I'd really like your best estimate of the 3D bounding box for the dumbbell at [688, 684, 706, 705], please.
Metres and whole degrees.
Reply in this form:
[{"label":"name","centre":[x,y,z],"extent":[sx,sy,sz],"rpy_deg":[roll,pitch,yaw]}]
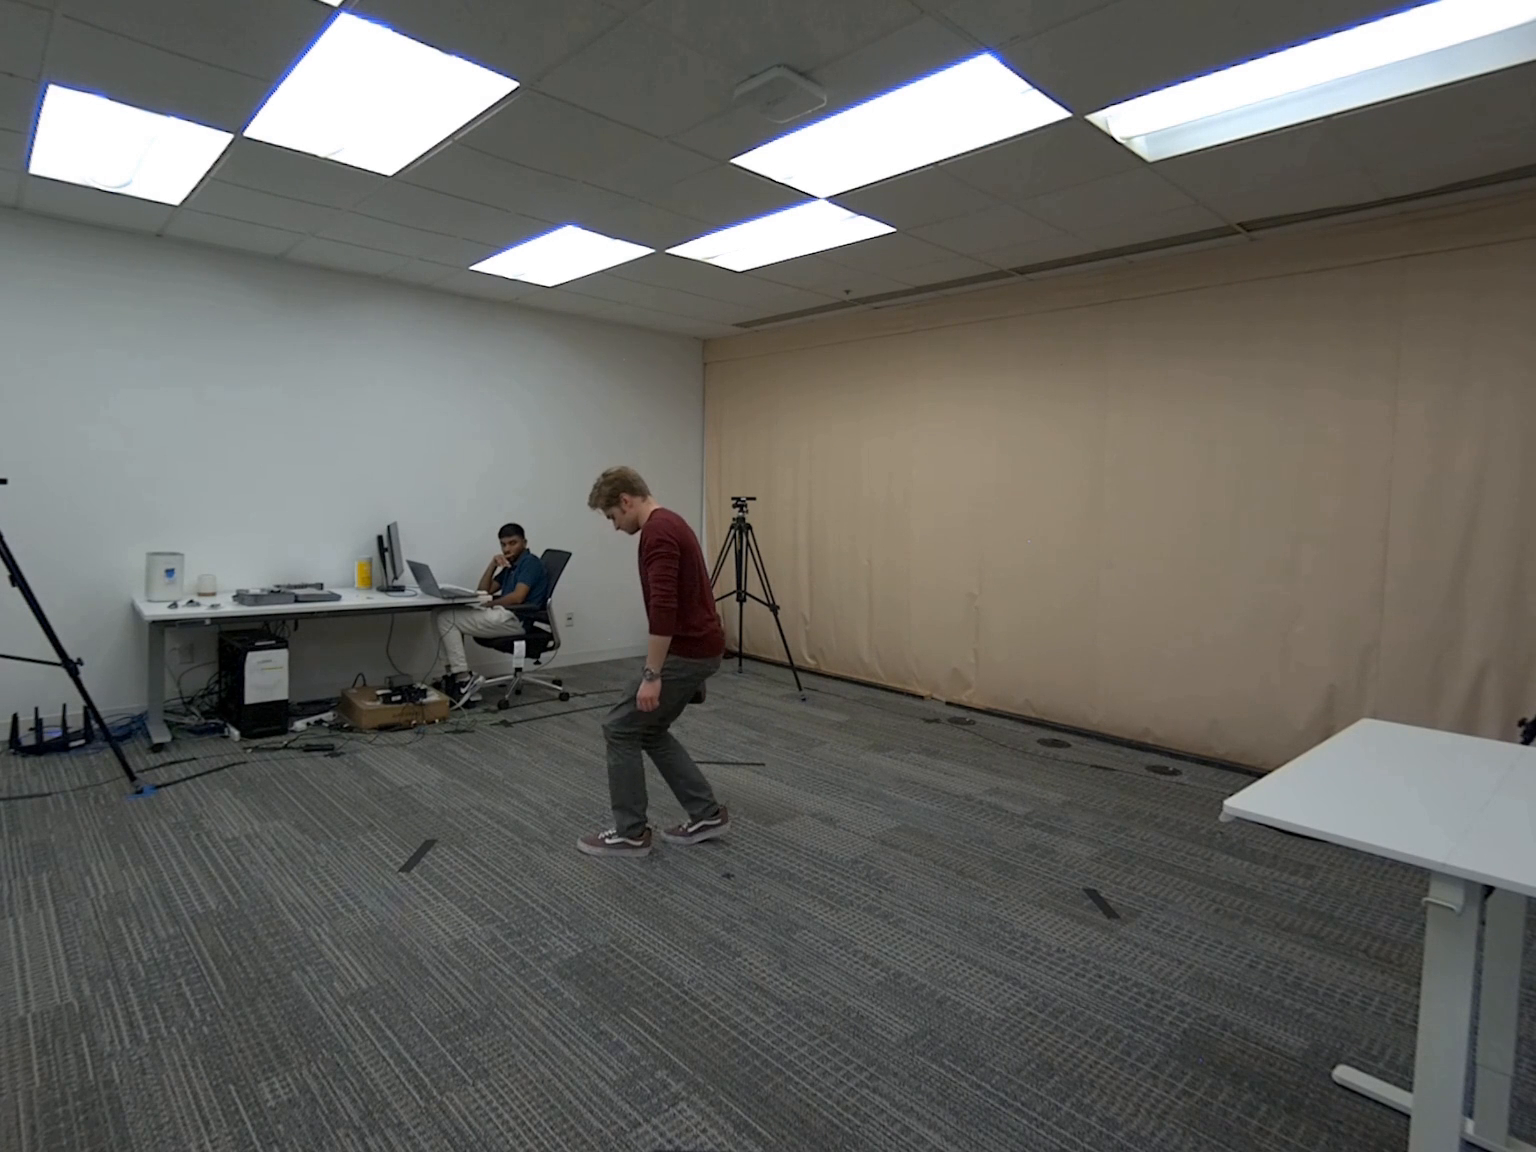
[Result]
[{"label":"dumbbell","centre":[-0.420,0.497,3.573],"extent":[0.296,0.121,0.110],"rpy_deg":[-1,26,10]}]
